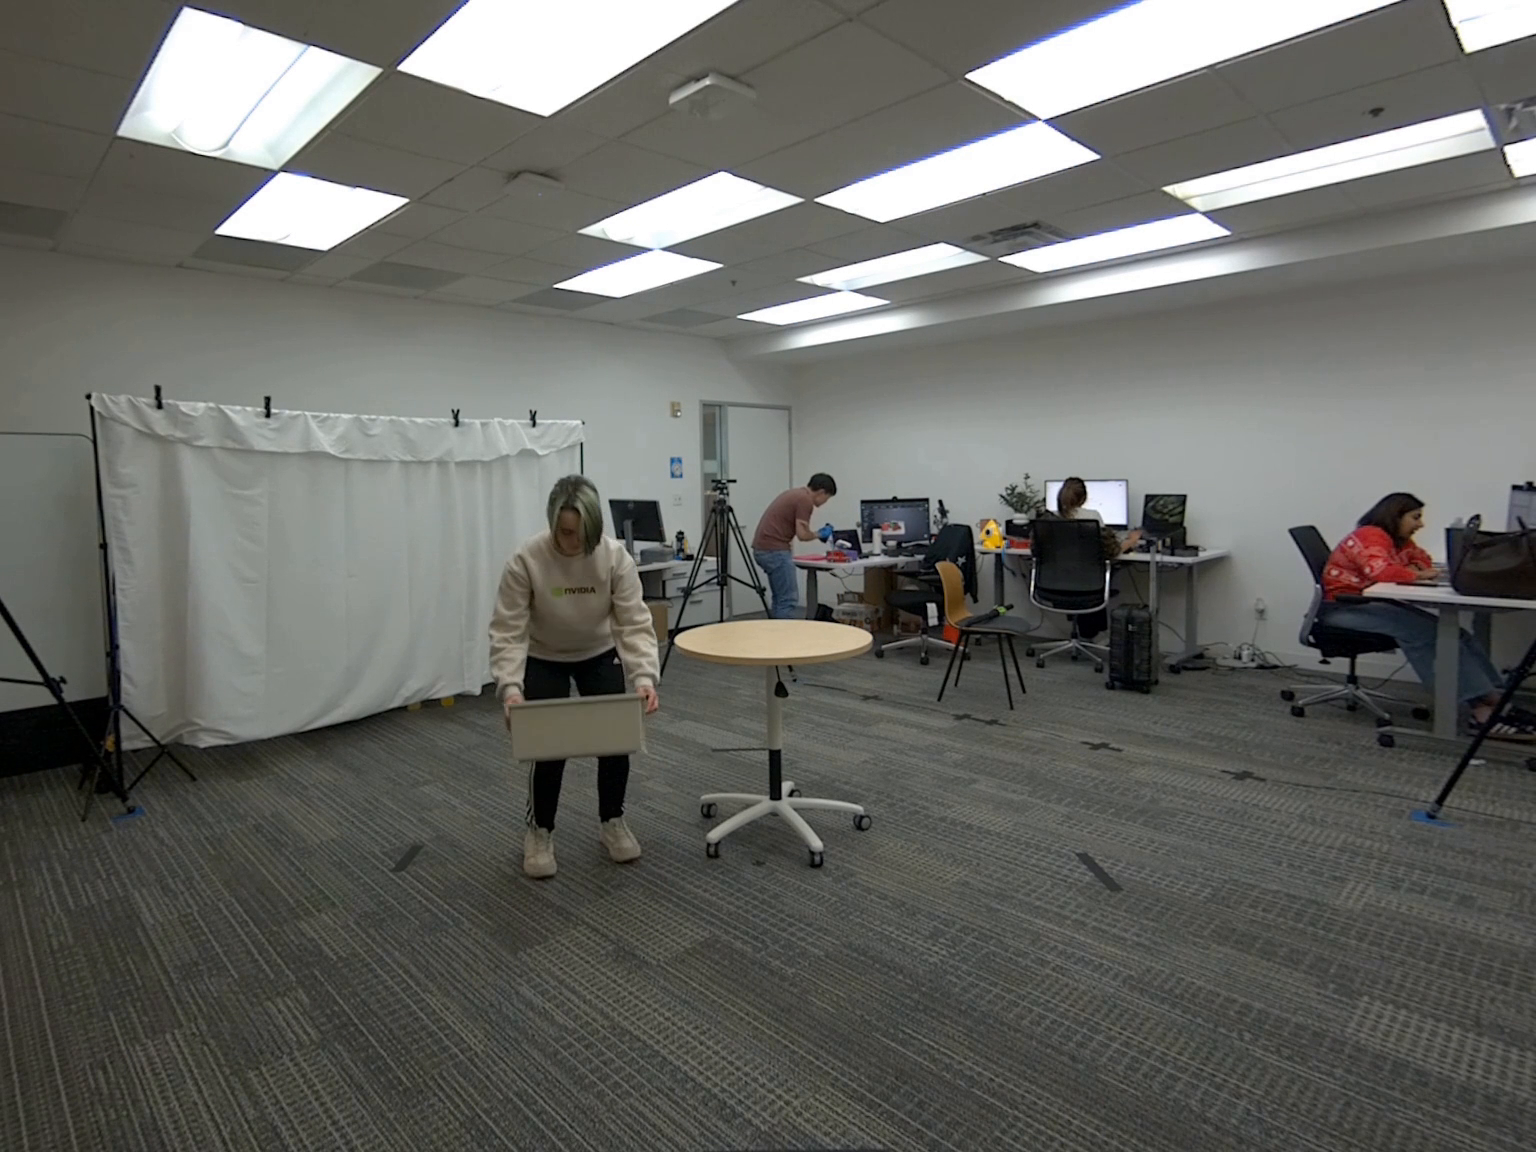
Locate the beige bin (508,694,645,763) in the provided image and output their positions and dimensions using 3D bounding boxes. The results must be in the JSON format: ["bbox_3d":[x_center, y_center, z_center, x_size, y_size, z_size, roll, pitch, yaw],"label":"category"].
[{"bbox_3d":[-0.591,0.490,2.709,0.420,0.191,0.376,-3,-8,-7],"label":"beige bin"}]
